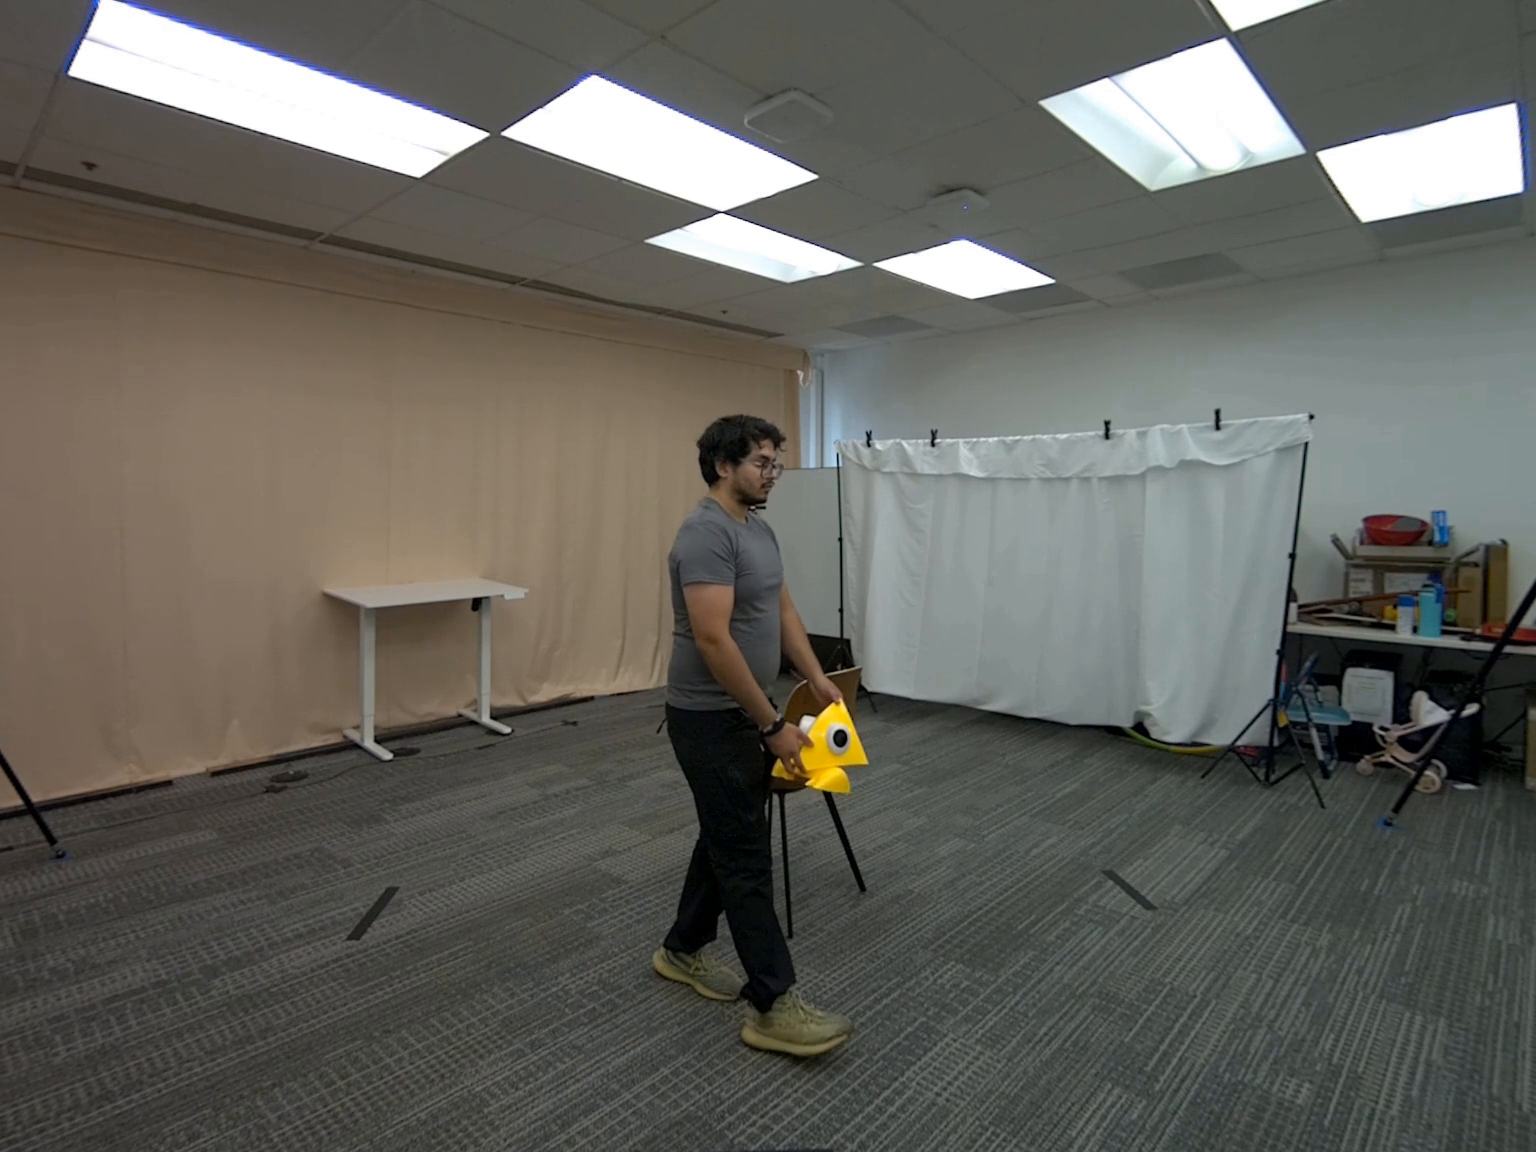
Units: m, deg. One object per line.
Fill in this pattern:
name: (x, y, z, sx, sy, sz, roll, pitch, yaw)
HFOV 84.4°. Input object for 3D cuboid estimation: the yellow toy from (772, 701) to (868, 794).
yellow toy: (0.141, 0.432, 2.210, 0.212, 0.231, 0.186, 6, -10, 39)
